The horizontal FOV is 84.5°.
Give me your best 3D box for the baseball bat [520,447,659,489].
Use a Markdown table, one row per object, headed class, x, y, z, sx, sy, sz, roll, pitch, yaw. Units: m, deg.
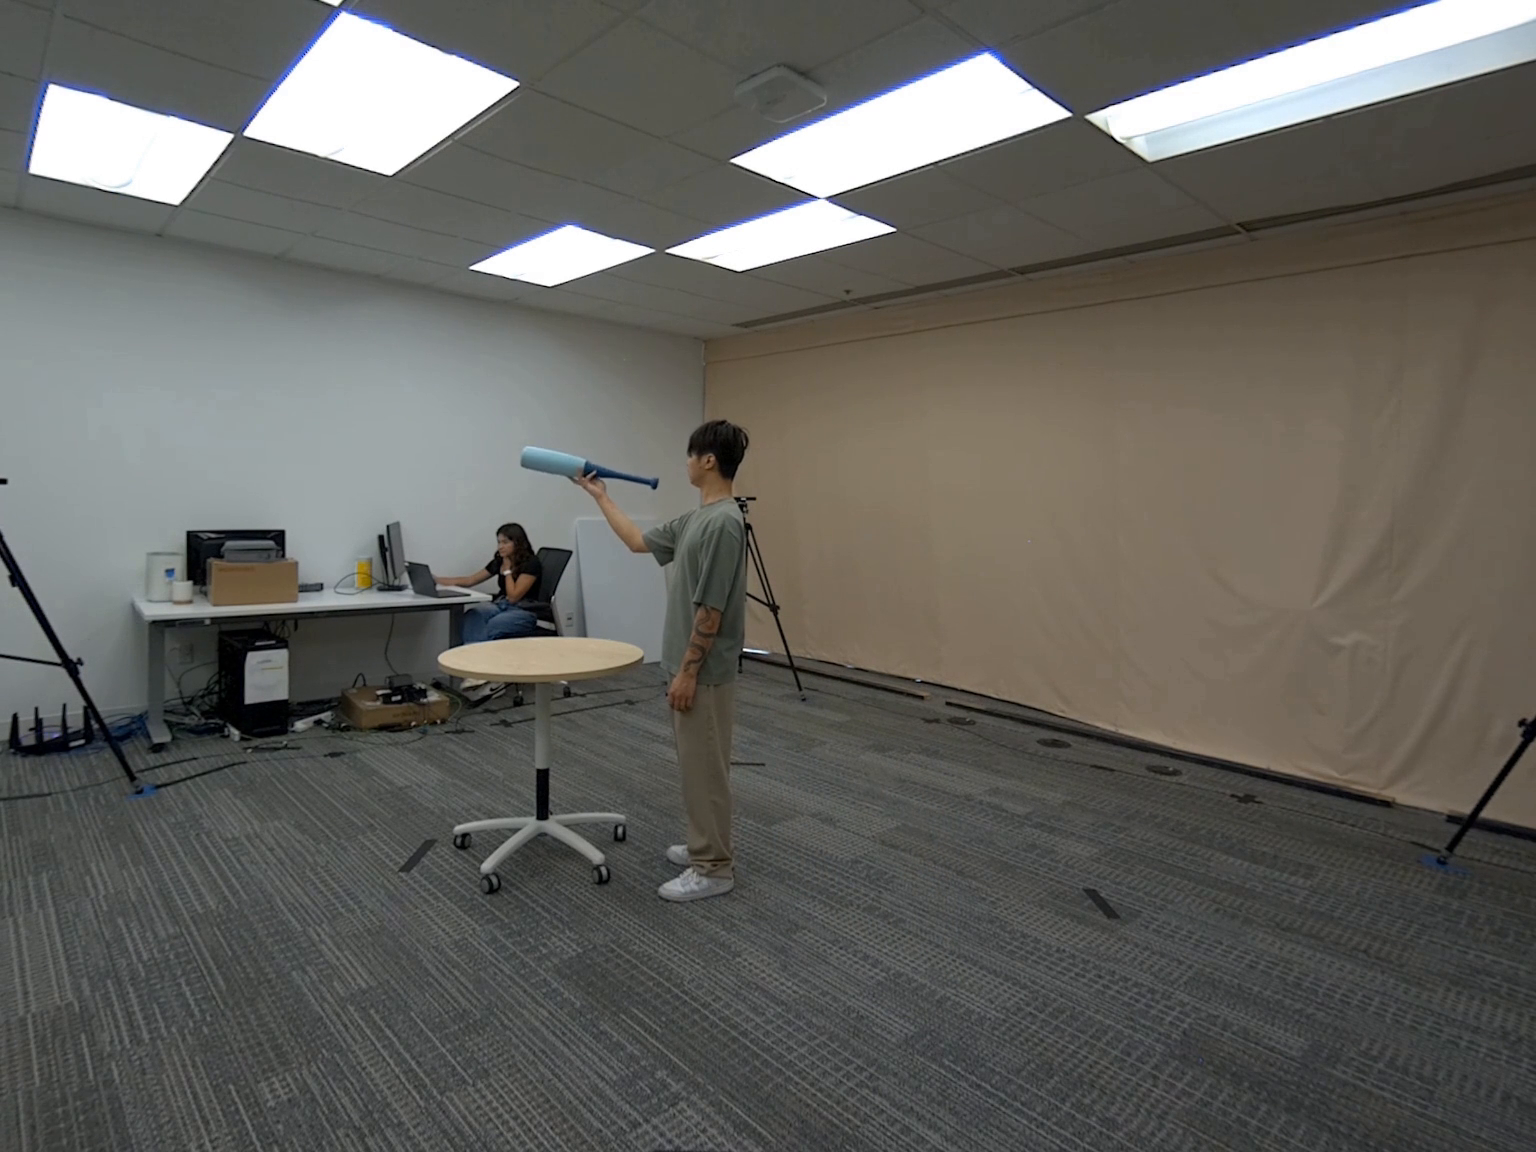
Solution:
| class | x | y | z | sx | sy | sz | roll | pitch | yaw |
| --- | --- | --- | --- | --- | --- | --- | --- | --- | --- |
| baseball bat | -0.697 | -0.411 | 3.301 | 0.542 | 0.089 | 0.089 | 13 | 3 | -2 |
